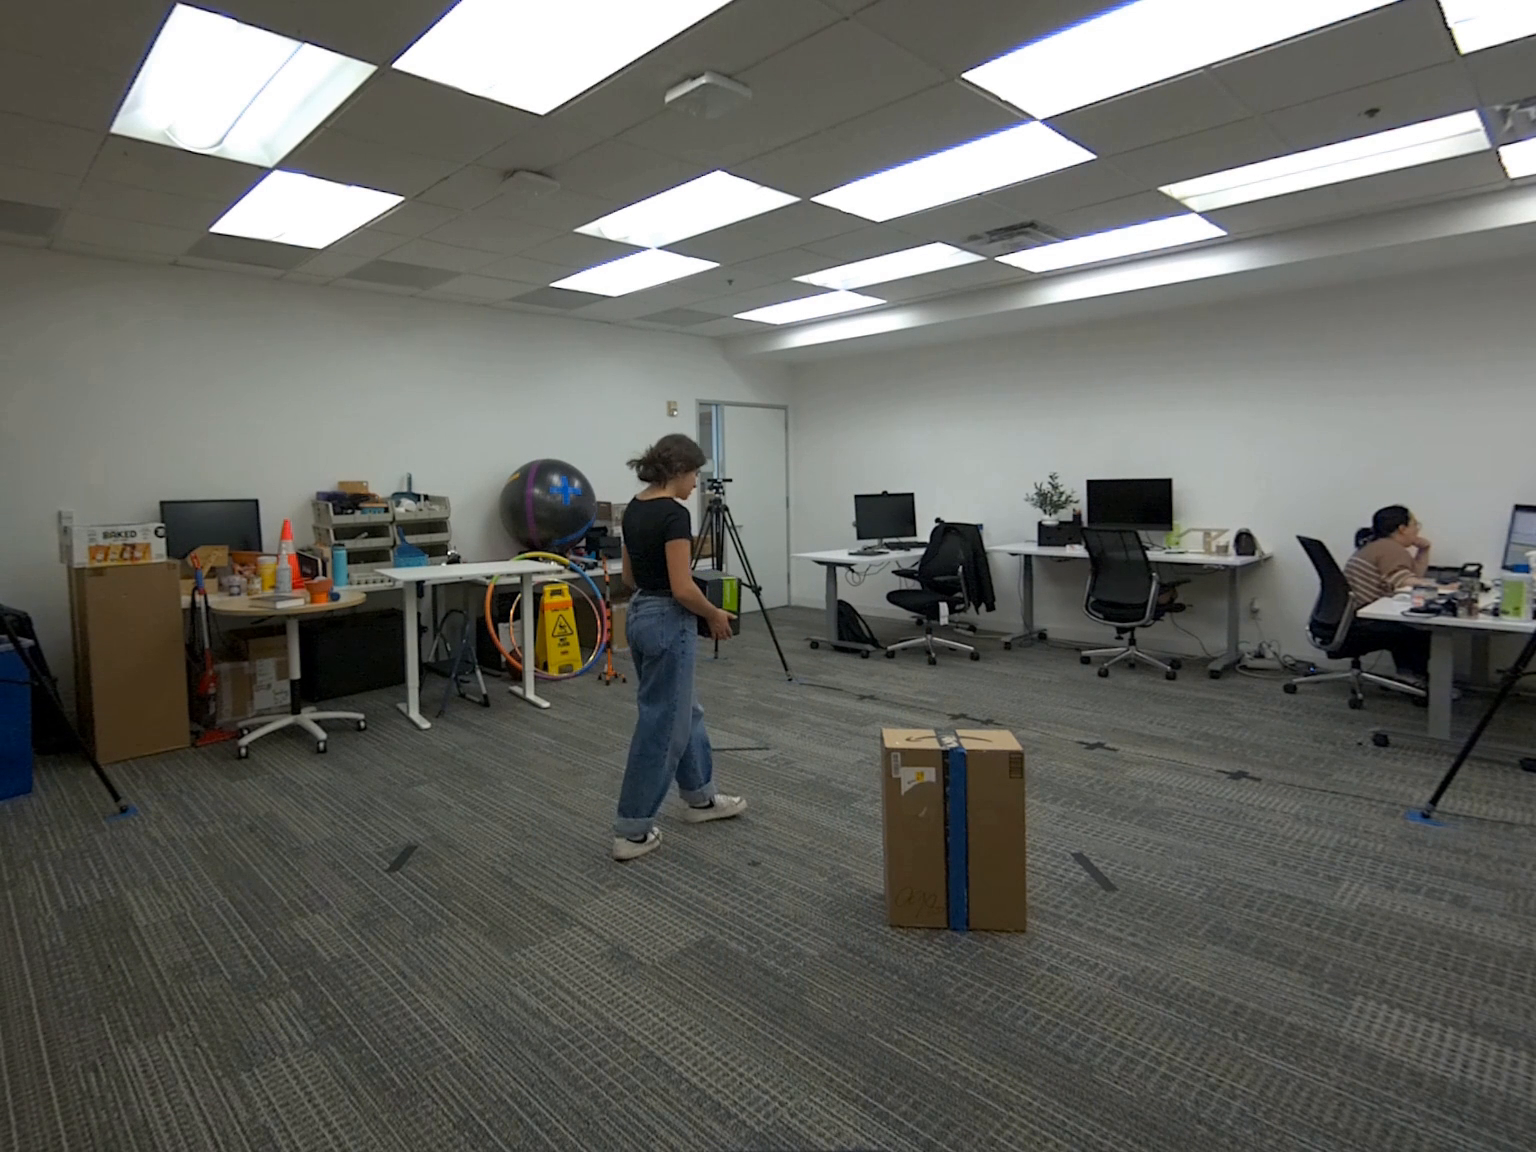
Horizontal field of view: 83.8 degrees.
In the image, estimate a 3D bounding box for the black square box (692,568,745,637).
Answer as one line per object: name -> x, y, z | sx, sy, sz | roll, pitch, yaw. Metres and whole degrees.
black square box -> -0.220, 0.100, 3.397 | 0.152, 0.226, 0.223 | 0, 8, -28
